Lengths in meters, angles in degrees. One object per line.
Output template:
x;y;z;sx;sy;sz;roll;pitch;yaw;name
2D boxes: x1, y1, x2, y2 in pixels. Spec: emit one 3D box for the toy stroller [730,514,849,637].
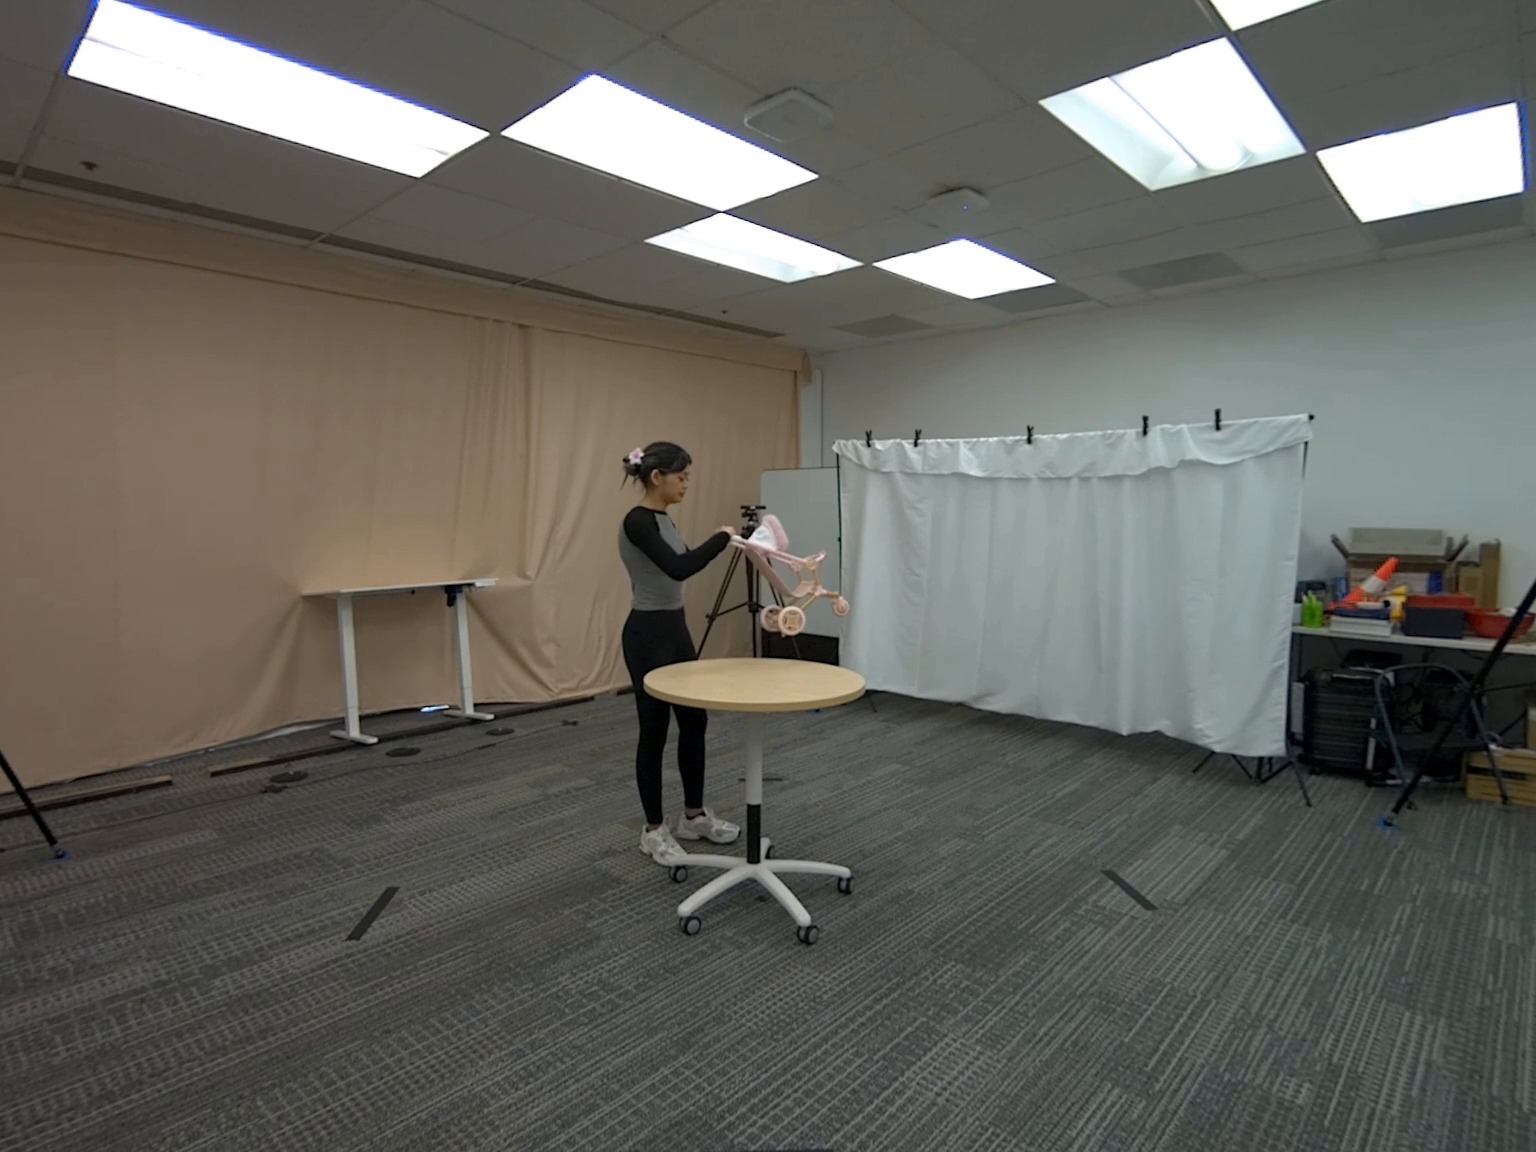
0.080;-0.006;3.347;0.339;0.533;0.284;-28;3;-8;toy stroller
